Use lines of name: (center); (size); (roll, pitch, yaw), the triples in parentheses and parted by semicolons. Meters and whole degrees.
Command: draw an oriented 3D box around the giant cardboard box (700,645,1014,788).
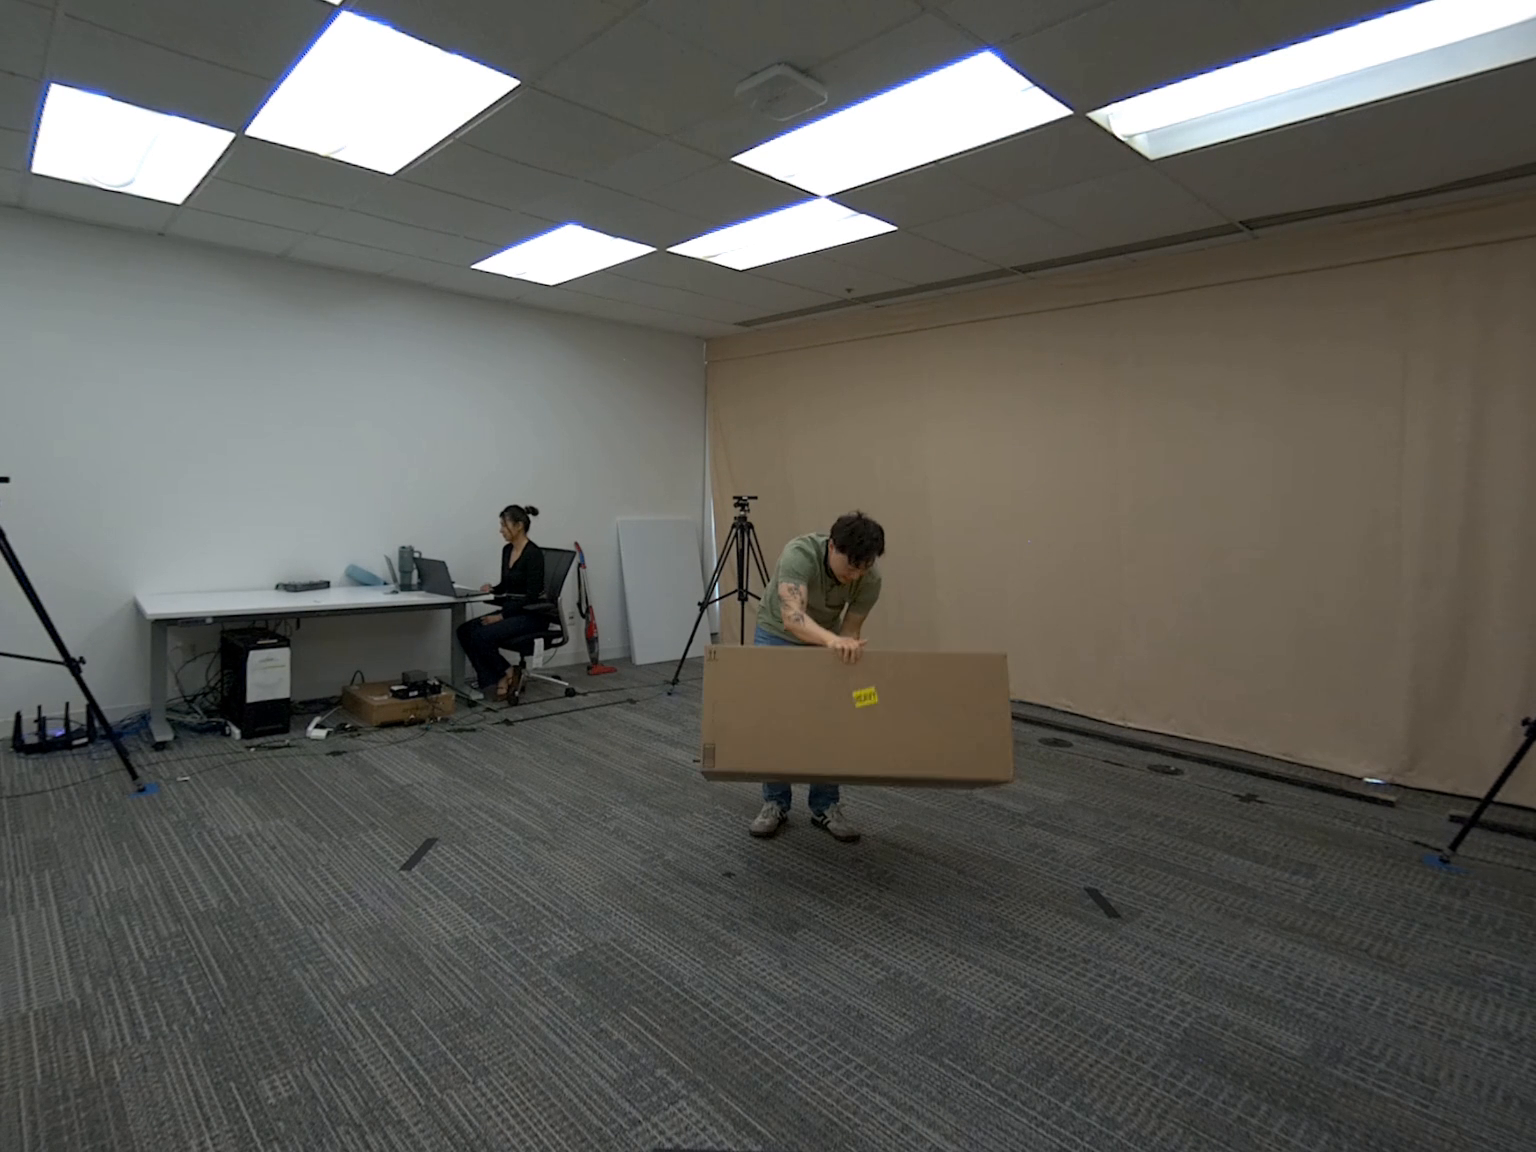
giant cardboard box: (0.282, 0.516, 3.055); (1.027, 0.431, 0.569); (2, -18, 1)
